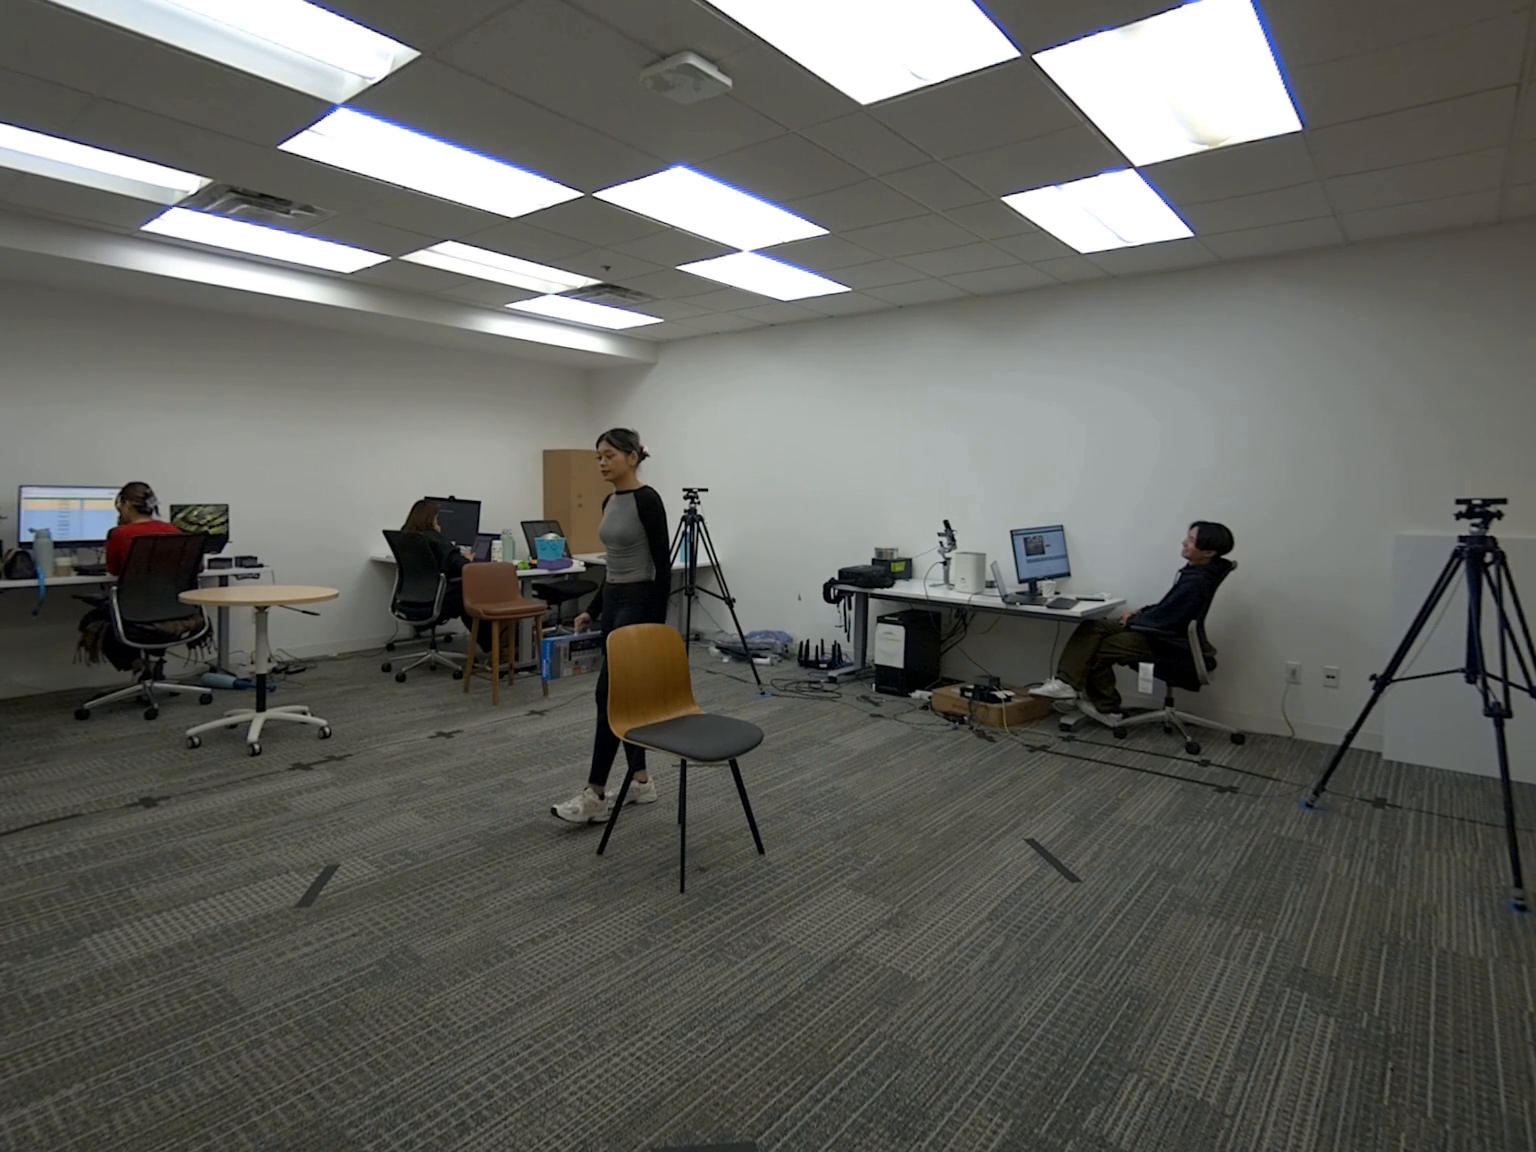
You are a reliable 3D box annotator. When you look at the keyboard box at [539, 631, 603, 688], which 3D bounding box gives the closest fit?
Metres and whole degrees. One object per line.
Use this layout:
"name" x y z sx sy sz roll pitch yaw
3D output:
"keyboard box" -0.835 0.343 3.777 0.061 0.175 0.424 2 3 34
